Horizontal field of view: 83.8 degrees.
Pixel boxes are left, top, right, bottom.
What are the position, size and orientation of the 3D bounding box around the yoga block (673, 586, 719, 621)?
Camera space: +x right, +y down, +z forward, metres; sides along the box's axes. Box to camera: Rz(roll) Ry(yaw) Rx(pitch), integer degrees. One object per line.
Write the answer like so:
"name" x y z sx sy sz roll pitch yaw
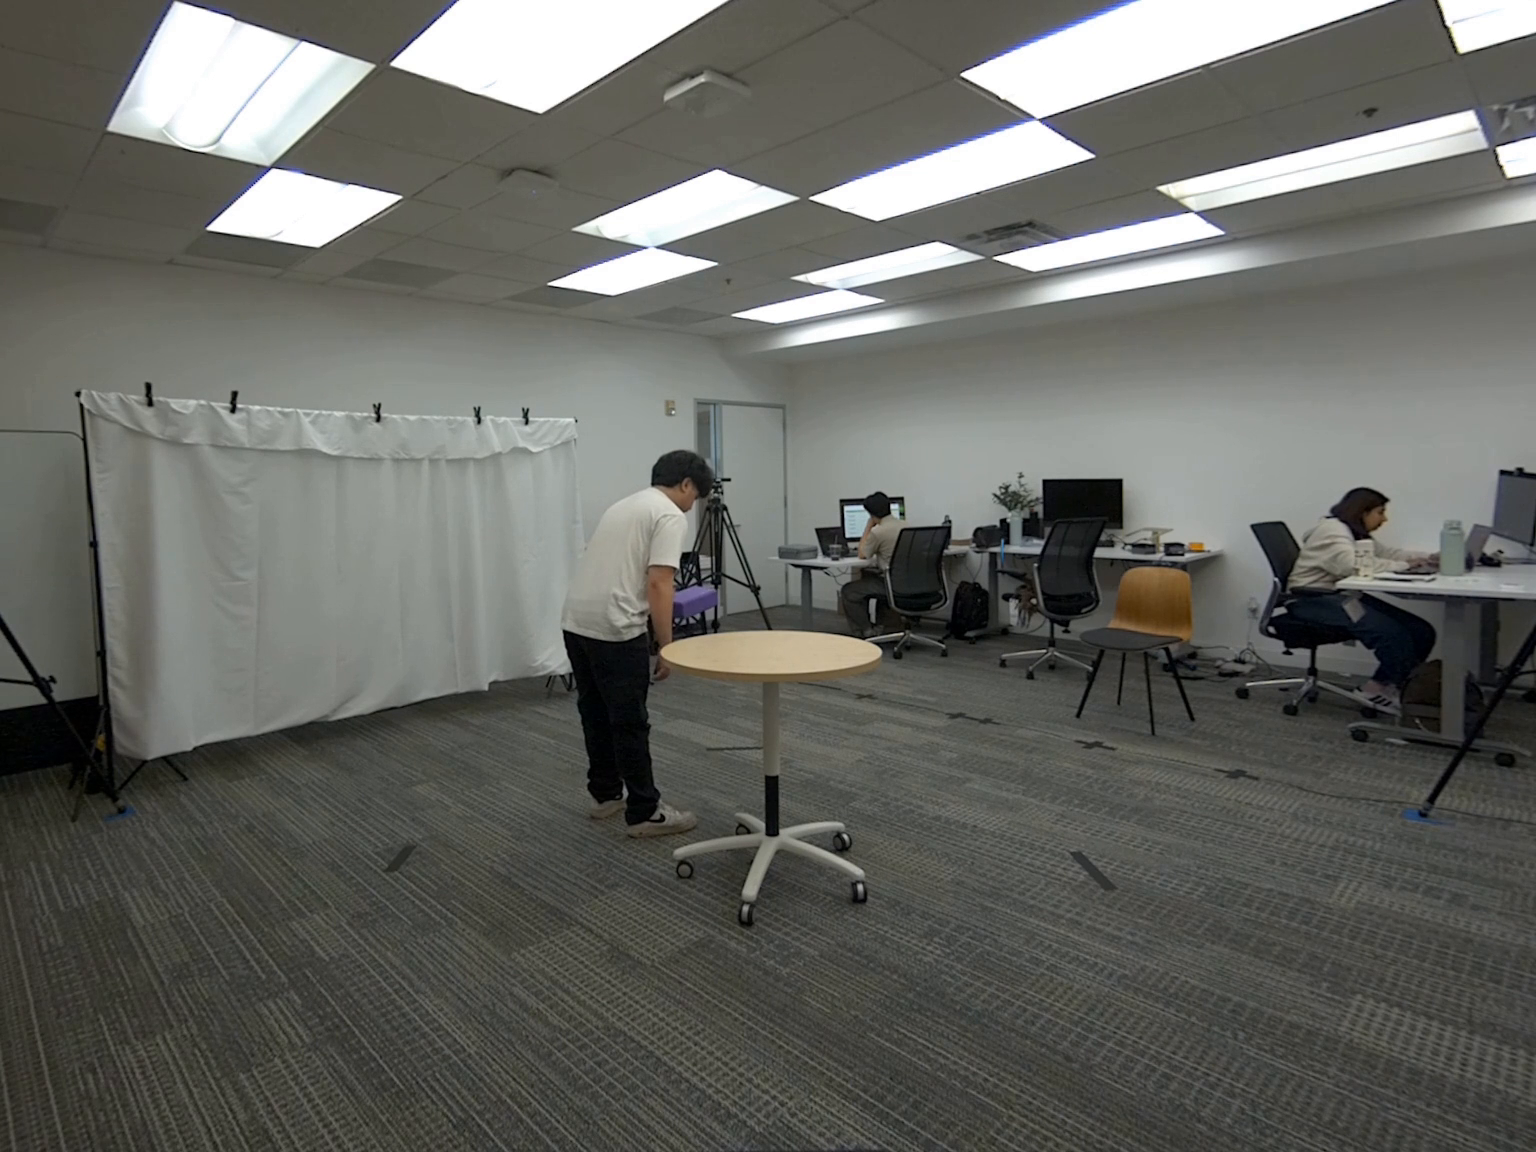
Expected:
"yoga block" -0.351 0.114 3.733 0.154 0.075 0.225 6 19 41
